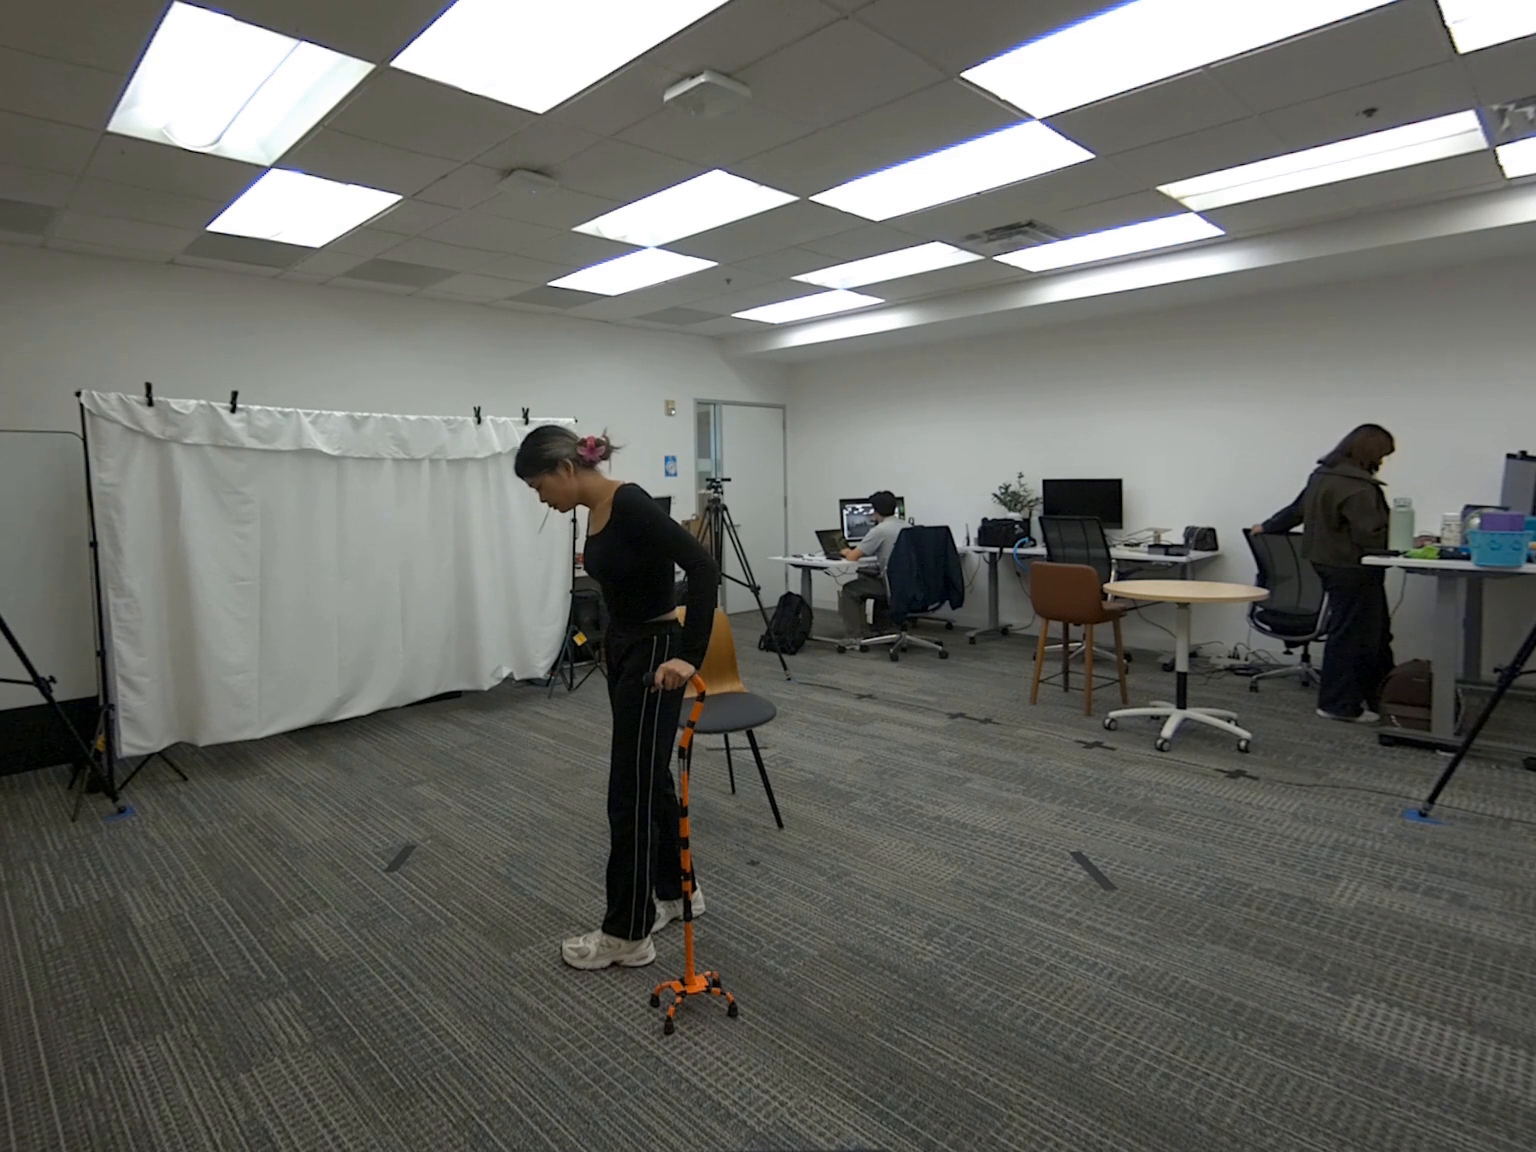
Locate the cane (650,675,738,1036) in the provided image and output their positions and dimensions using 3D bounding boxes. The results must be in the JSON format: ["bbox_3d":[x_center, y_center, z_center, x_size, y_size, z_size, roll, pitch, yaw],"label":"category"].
[{"bbox_3d":[-0.207,0.700,2.217,0.203,0.903,0.155,-5,5,-21],"label":"cane"}]
